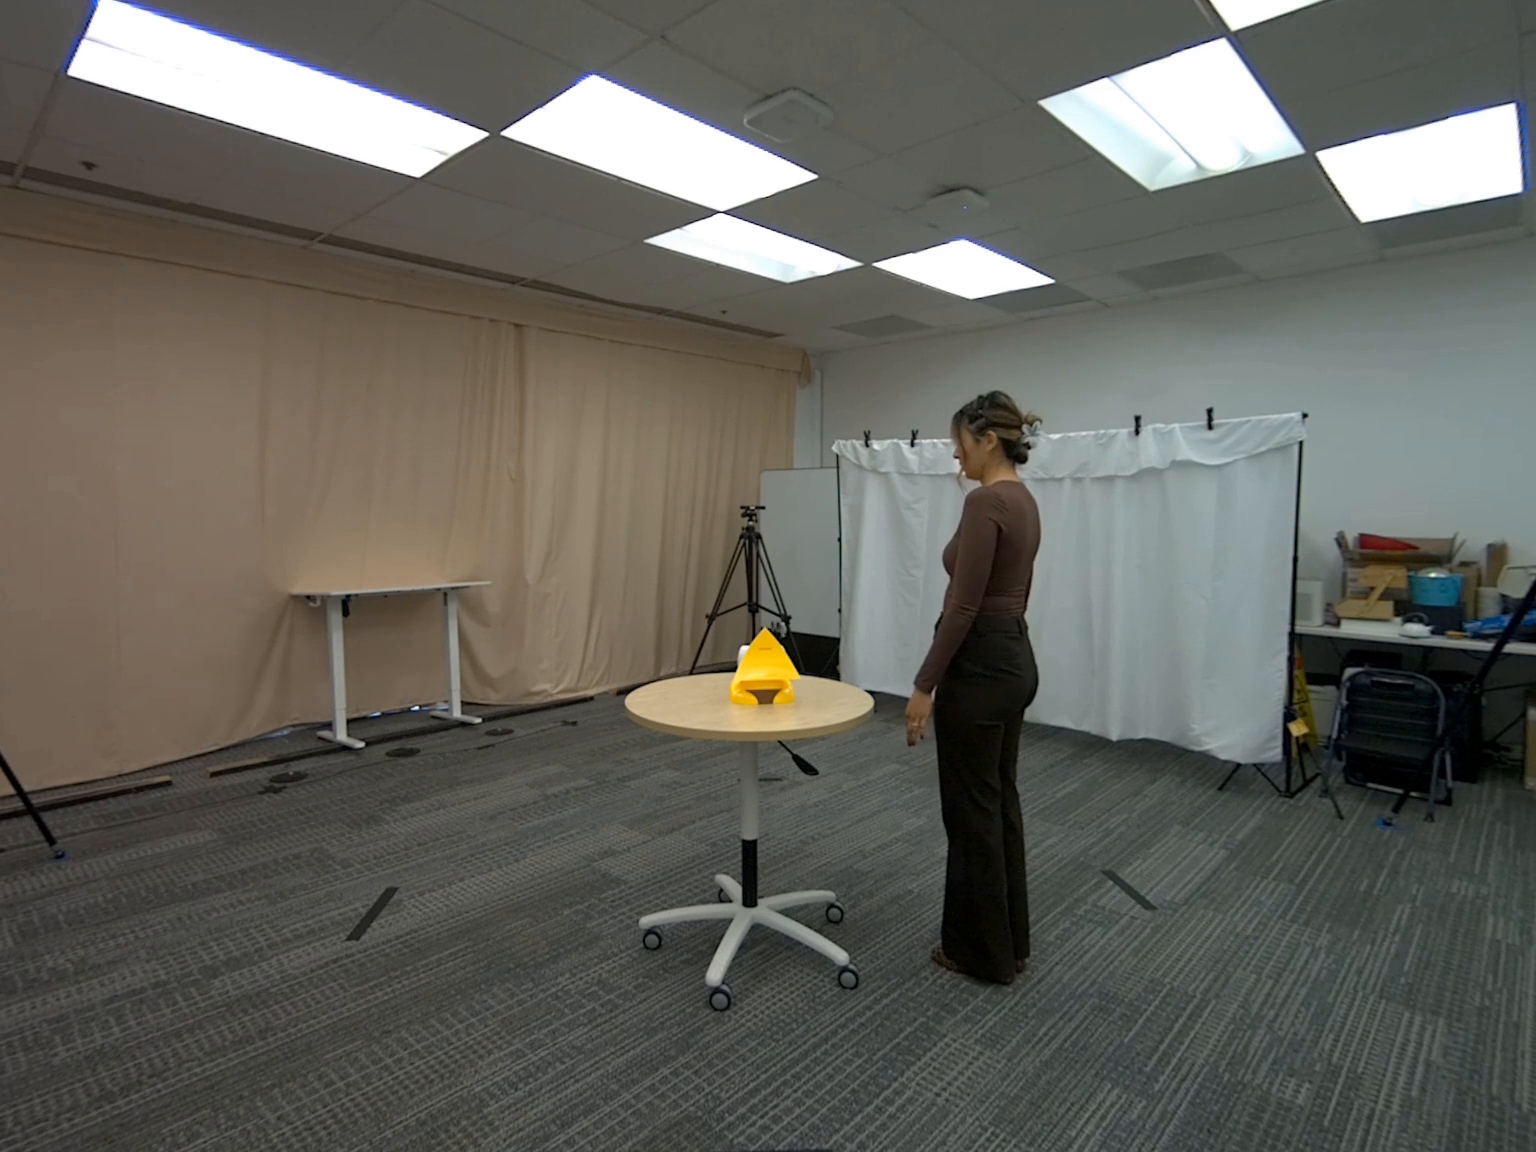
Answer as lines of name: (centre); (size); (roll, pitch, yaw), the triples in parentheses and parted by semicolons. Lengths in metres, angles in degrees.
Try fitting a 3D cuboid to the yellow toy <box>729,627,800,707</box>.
yellow toy: (-0.018, 0.266, 2.589); (0.203, 0.230, 0.195); (-2, 3, -9)
